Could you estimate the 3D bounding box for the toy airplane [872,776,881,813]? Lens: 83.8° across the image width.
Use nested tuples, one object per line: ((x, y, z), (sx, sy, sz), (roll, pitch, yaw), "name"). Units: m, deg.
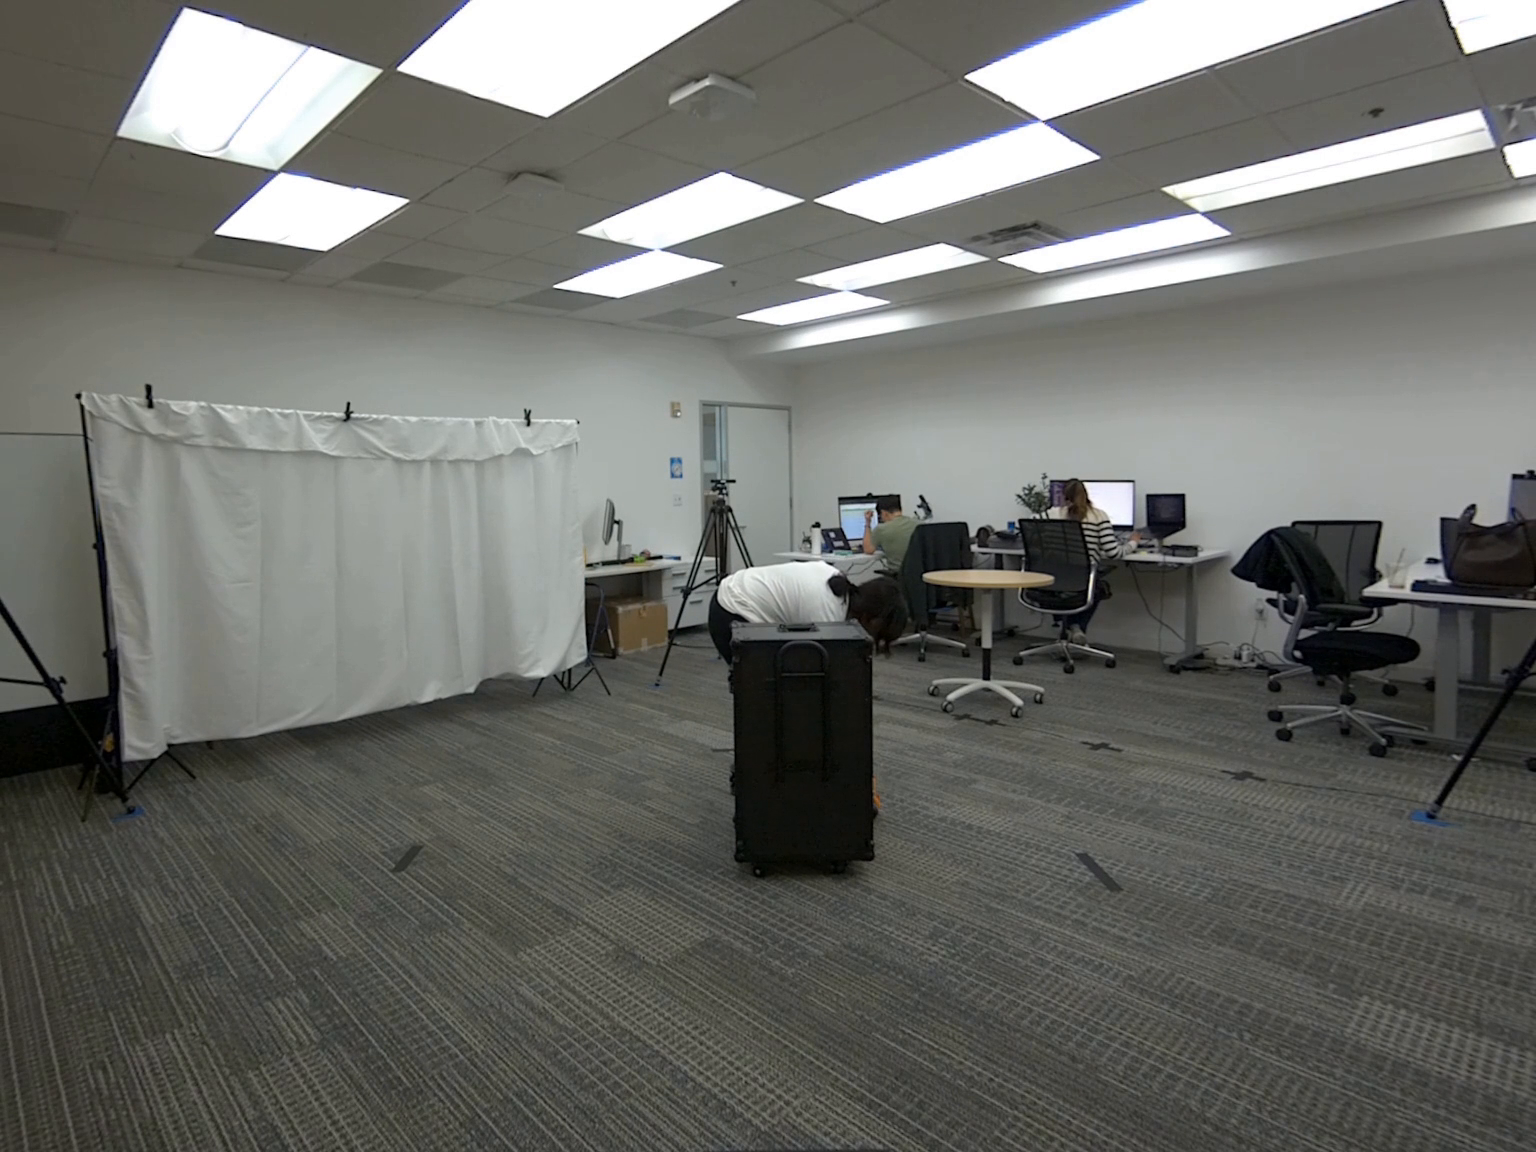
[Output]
((0.333, 0.925, 3.517), (0.263, 0.156, 0.249), (3, 6, 12), "toy airplane")
